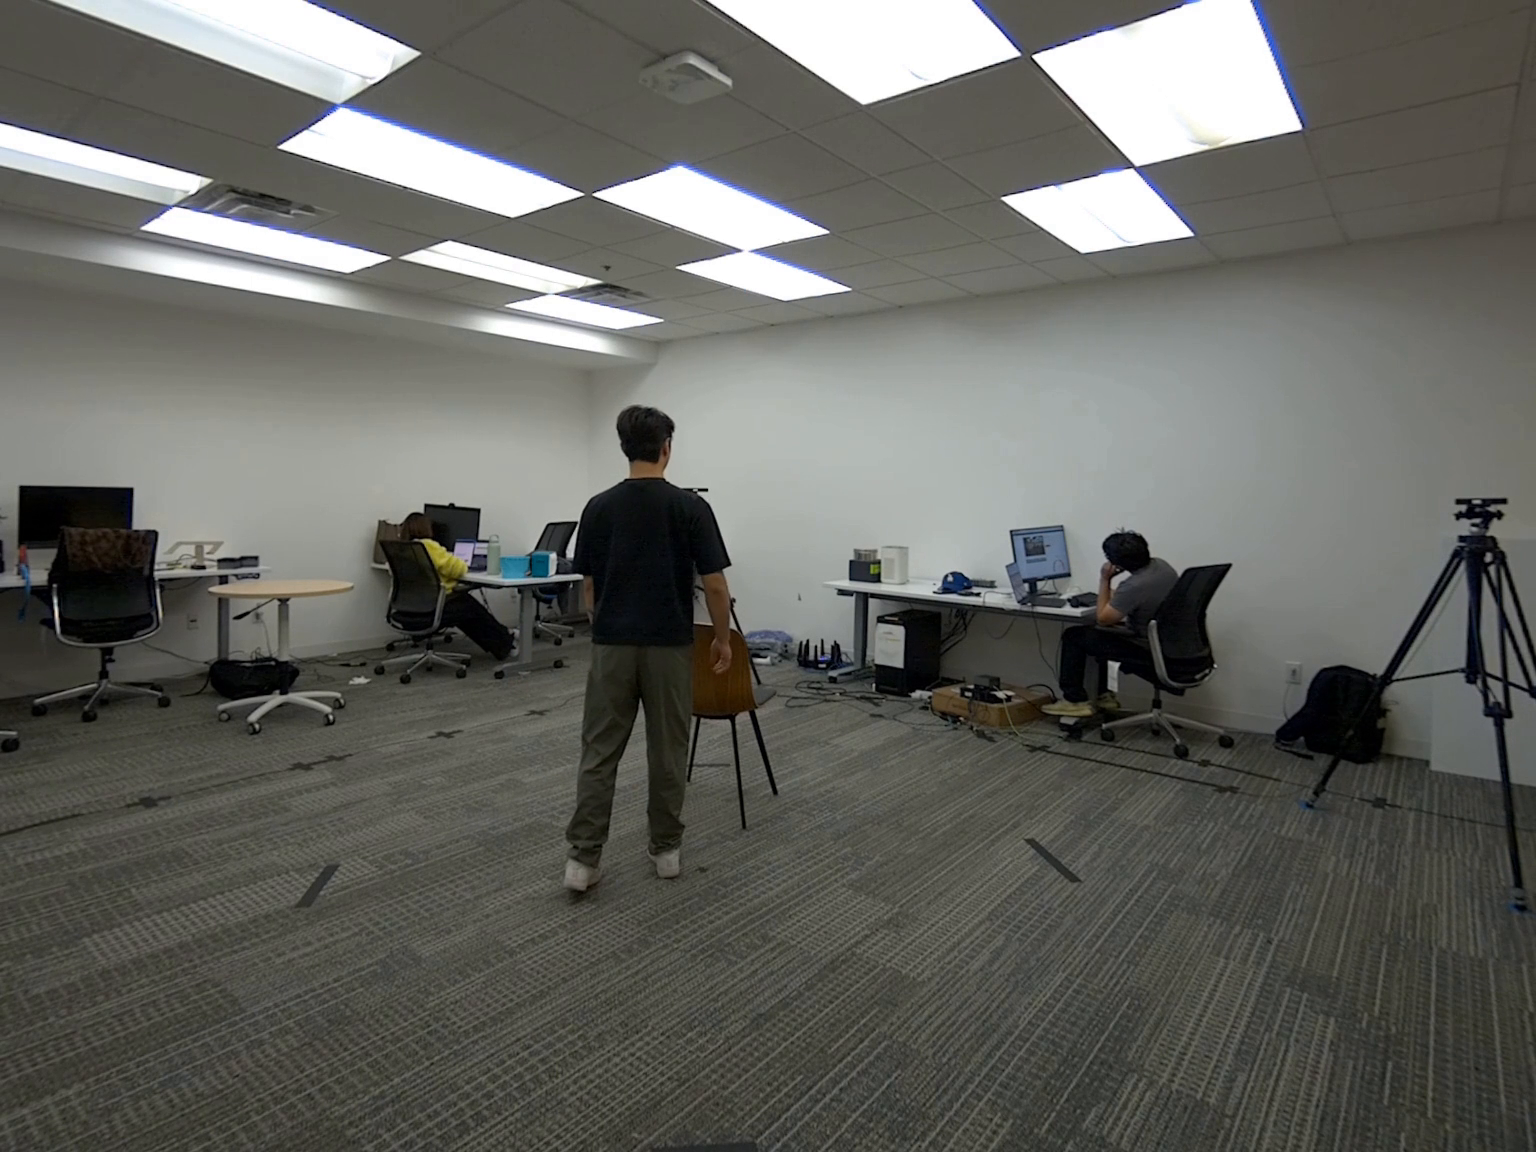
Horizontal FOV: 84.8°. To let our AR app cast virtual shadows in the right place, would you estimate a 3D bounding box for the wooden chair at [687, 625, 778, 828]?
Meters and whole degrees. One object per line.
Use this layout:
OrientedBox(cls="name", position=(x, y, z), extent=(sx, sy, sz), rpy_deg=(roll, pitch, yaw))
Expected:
OrientedBox(cls="wooden chair", position=(-0.240, 0.576, 3.748), extent=(0.488, 0.871, 0.516), rpy_deg=(2, 8, 20))
